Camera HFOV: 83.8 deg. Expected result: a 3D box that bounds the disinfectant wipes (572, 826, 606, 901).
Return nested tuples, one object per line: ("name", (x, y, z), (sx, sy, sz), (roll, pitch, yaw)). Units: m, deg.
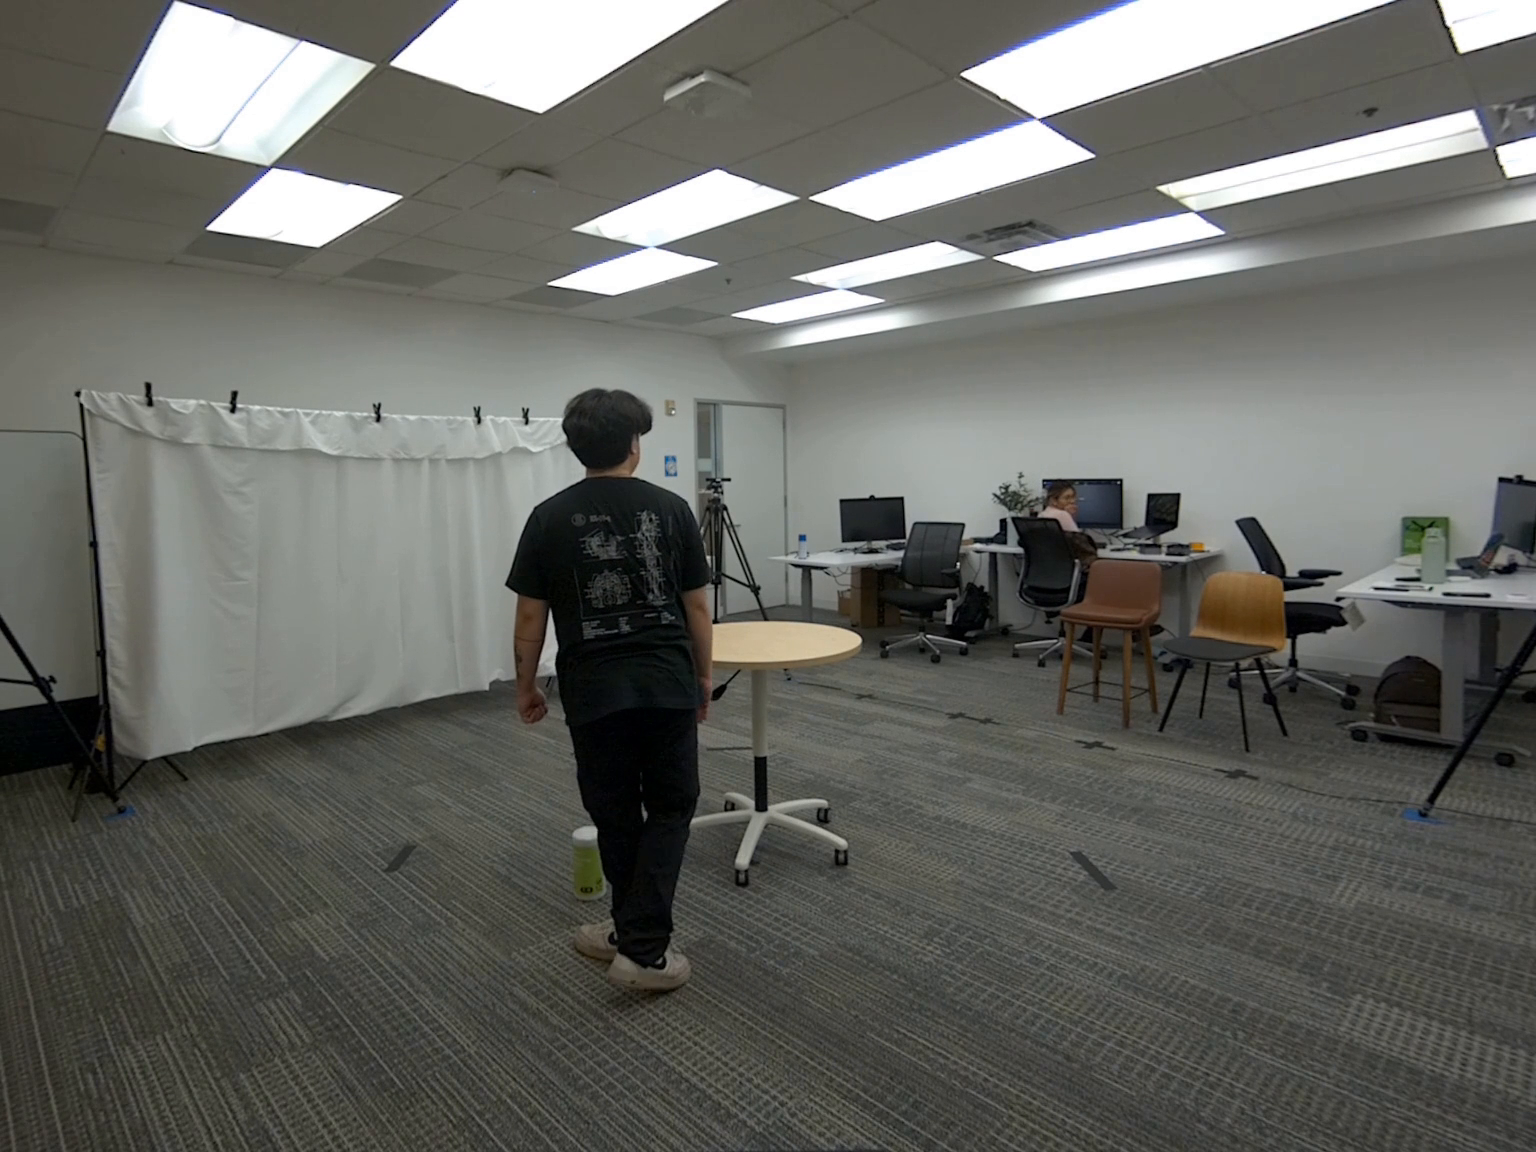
("disinfectant wipes", (-0.614, 0.980, 2.897), (0.118, 0.216, 0.118), (-1, 6, -2))
